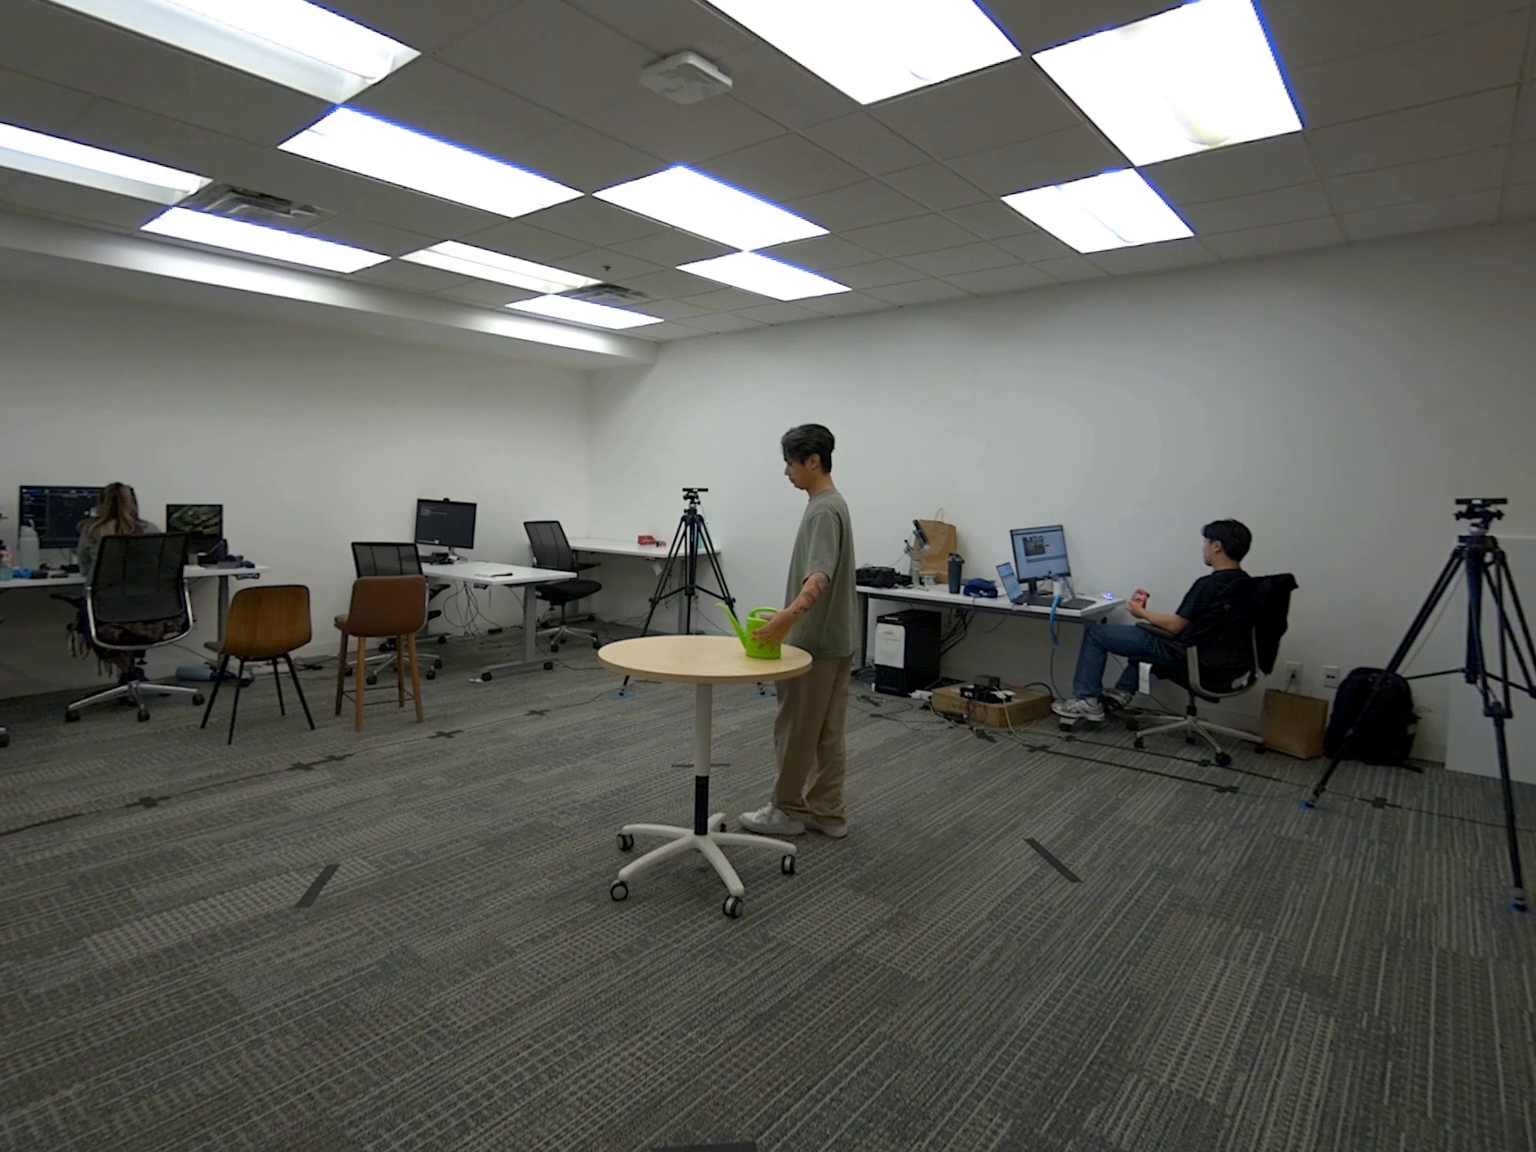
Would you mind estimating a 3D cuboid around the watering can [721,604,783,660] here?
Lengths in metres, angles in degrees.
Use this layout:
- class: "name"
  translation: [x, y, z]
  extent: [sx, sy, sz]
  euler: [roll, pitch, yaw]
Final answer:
- class: "watering can"
  translation: [-0.061, 0.192, 3.059]
  extent: [0.287, 0.176, 0.095]
  euler: [6, 4, 34]
